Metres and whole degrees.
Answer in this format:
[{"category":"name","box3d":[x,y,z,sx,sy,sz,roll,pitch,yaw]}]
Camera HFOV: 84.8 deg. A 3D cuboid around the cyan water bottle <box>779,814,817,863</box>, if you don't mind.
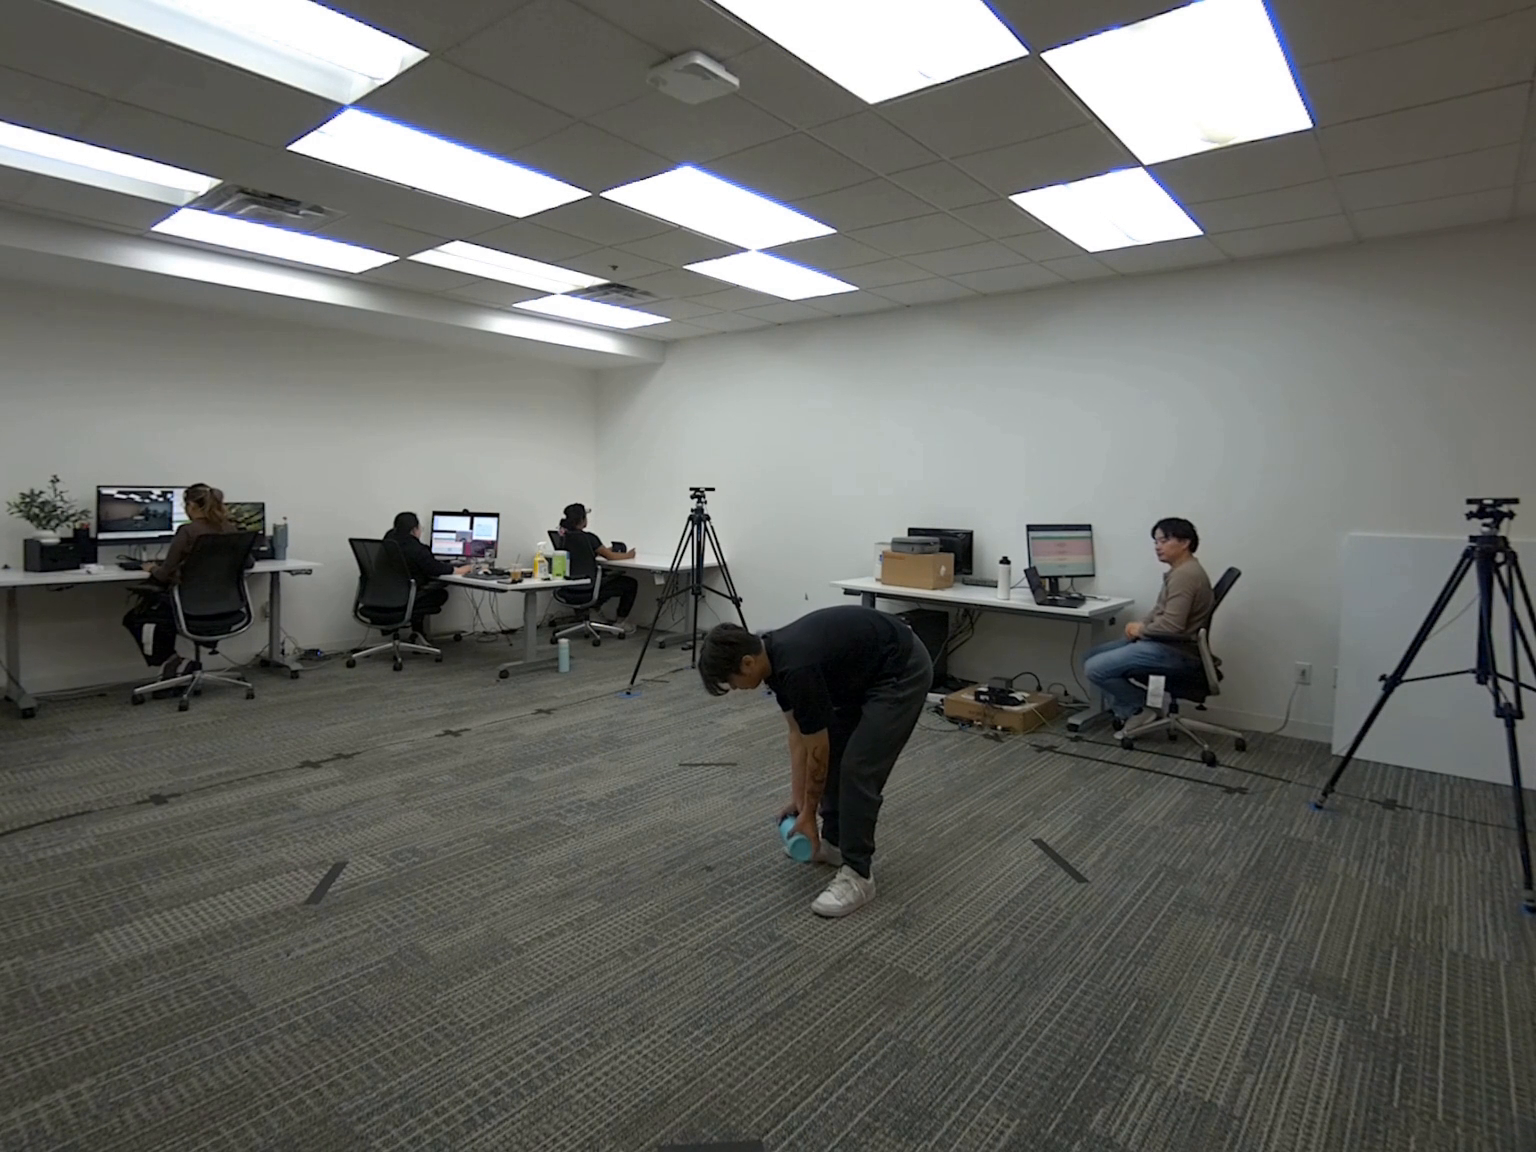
[{"category":"cyan water bottle","box3d":[0.081,0.926,3.068,0.091,0.092,0.287,0,5,-8]}]
